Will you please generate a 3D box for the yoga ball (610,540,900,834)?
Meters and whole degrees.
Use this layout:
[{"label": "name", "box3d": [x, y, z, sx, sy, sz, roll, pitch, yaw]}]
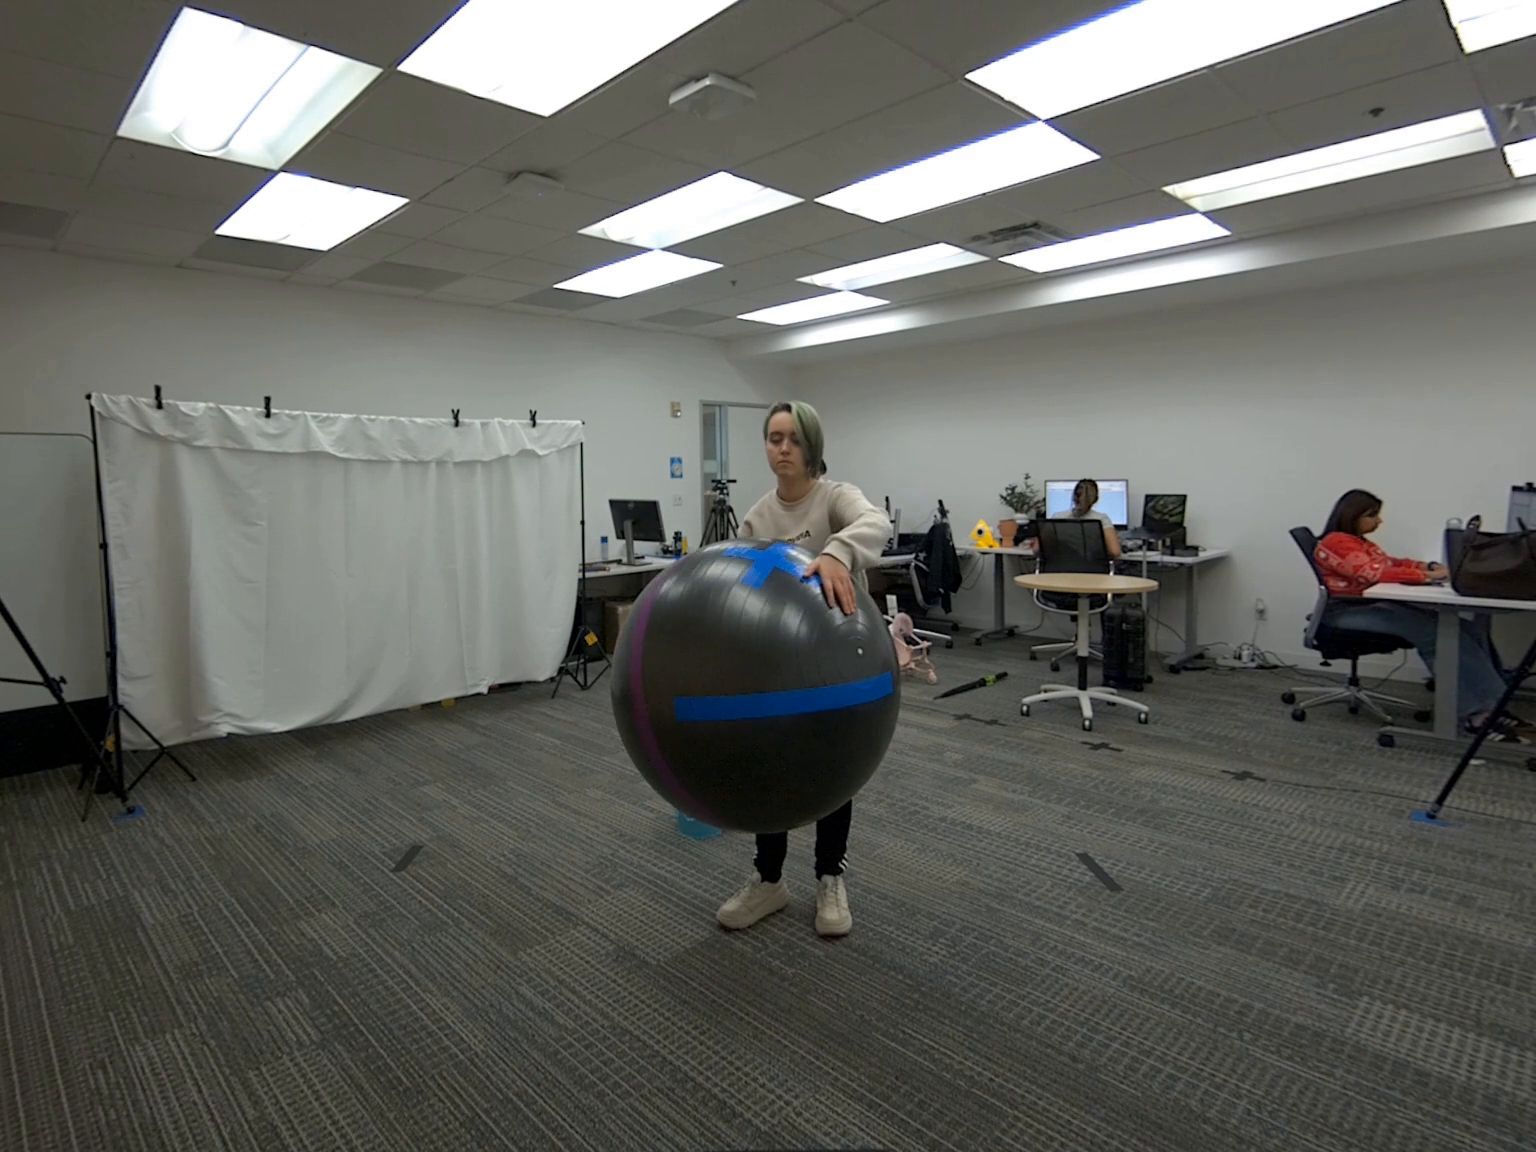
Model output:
[{"label": "yoga ball", "box3d": [-0.031, 0.285, 2.240, 0.757, 0.755, 0.762, -1, 5, -2]}]
